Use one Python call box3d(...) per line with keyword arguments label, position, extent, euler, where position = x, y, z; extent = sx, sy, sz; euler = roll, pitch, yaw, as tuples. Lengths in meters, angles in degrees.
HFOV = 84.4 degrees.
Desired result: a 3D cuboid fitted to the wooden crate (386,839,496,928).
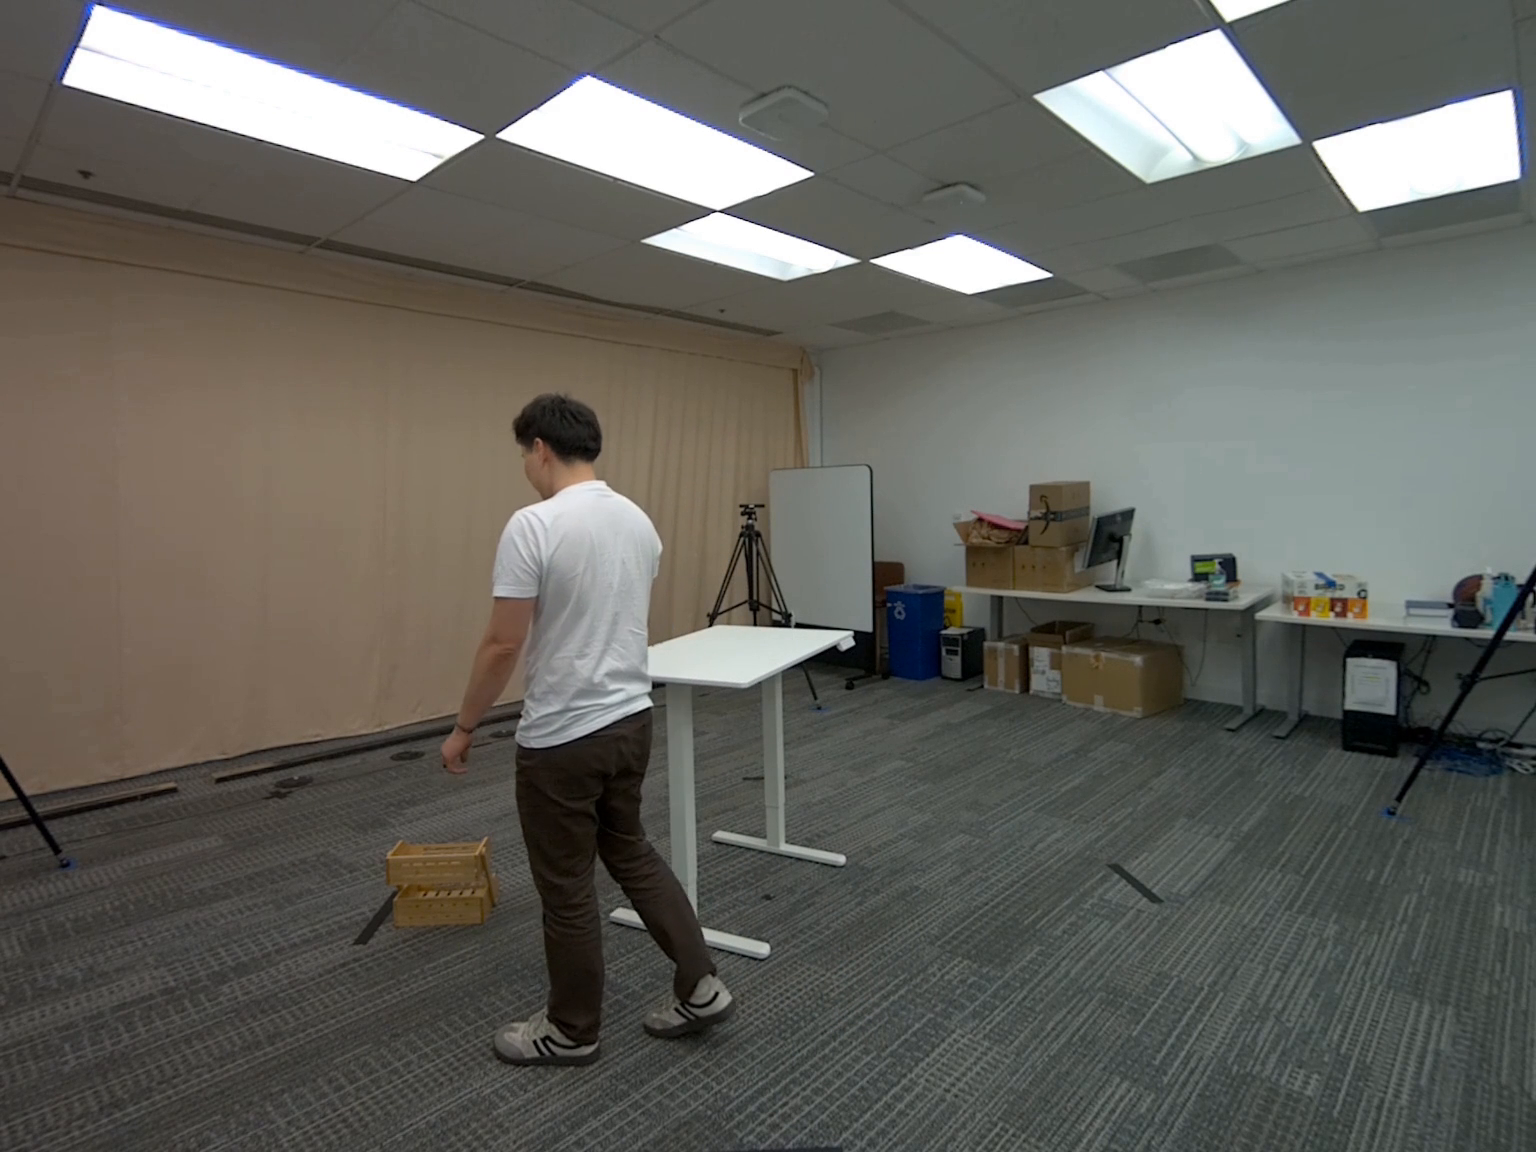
box3d(label="wooden crate", position=(-1.130, 1.038, 2.931), extent=(0.323, 0.272, 0.304), euler=(-1, 4, -5))
